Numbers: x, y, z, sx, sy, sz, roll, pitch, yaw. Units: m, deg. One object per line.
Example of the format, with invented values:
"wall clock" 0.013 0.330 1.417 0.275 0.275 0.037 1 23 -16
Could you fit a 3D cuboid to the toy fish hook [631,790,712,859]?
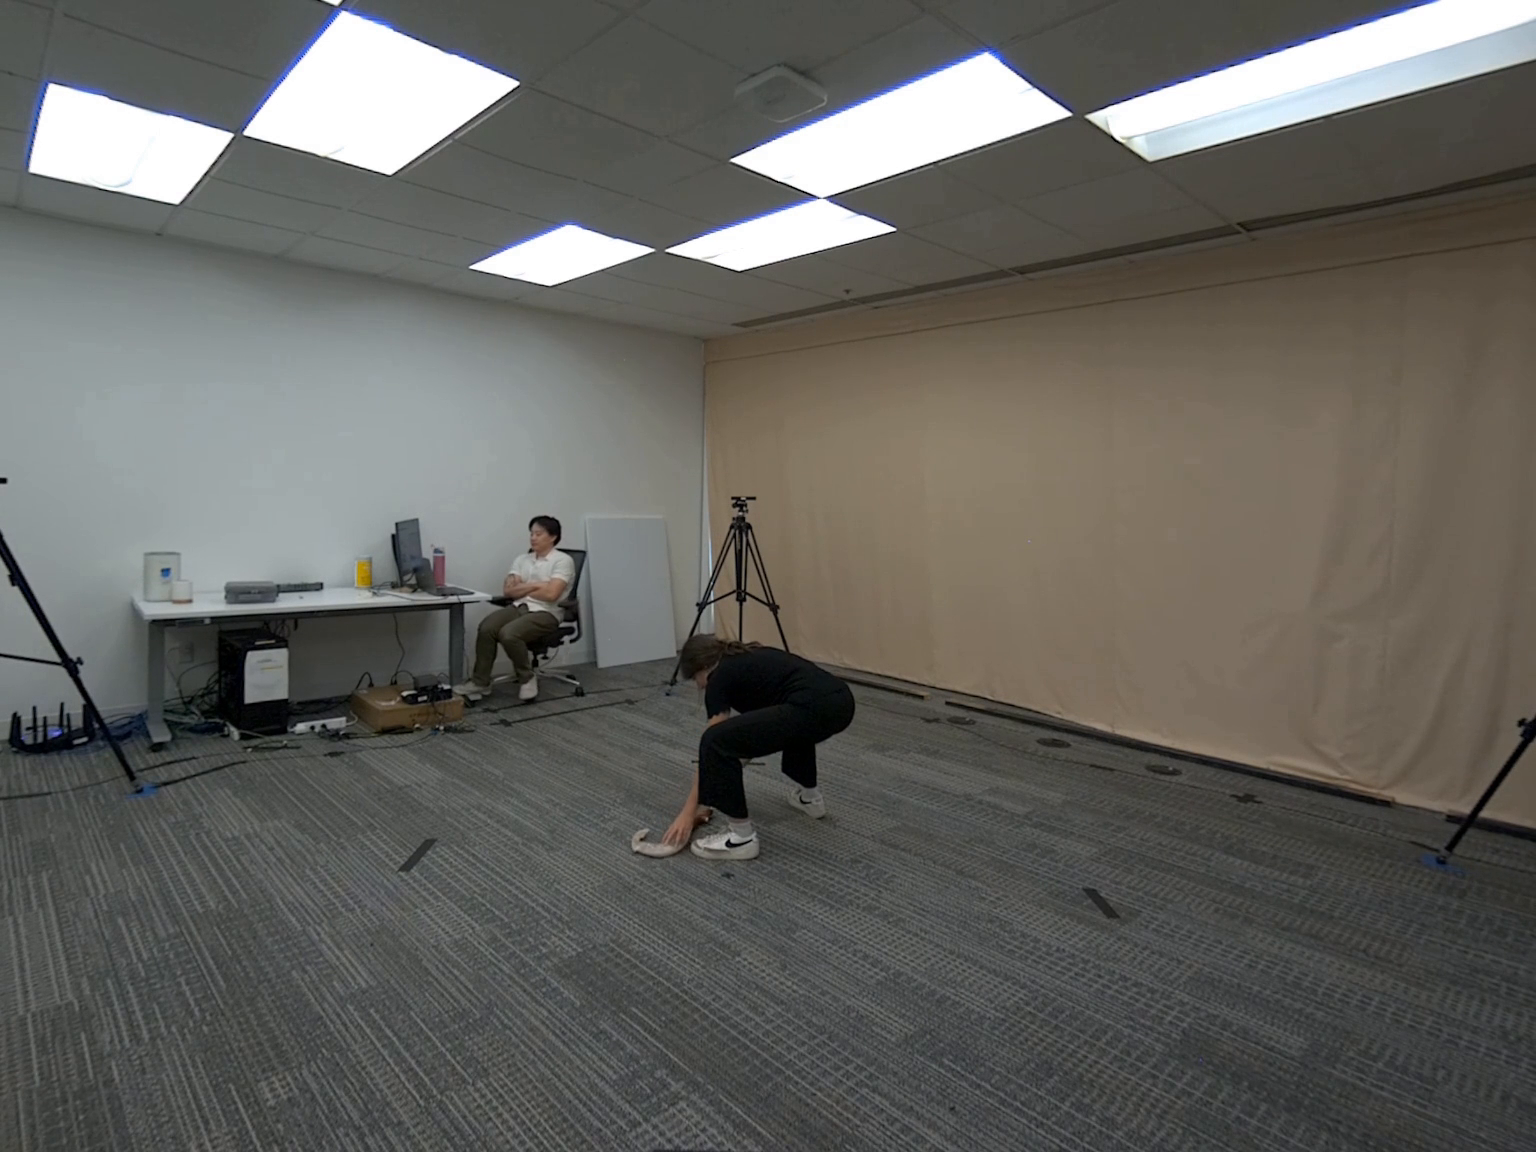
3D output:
"toy fish hook" -0.394 1.042 3.484 0.229 0.048 0.499 8 7 20
